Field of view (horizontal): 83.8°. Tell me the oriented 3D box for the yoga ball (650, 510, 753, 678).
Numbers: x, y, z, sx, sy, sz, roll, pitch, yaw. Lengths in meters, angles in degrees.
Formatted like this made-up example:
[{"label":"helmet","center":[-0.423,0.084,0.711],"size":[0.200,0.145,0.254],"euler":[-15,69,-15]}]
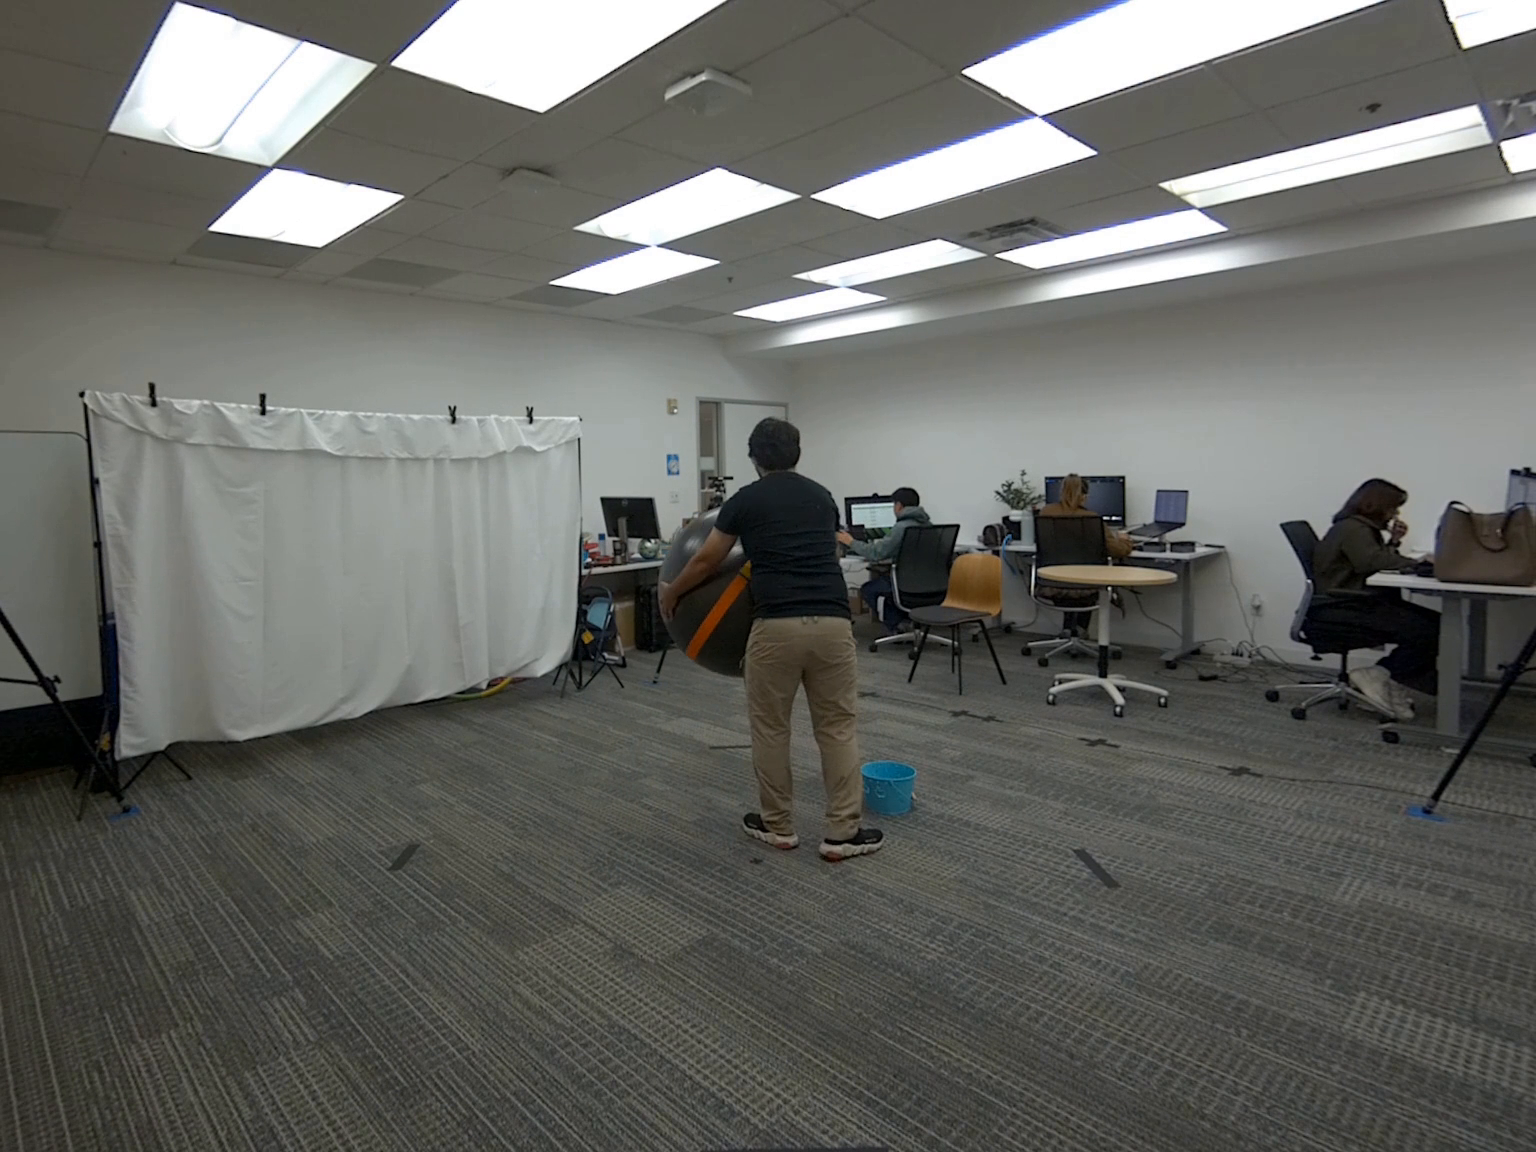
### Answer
[{"label":"yoga ball","center":[-0.102,0.069,3.758],"size":[0.757,0.755,0.762],"euler":[-1,5,-2]}]
